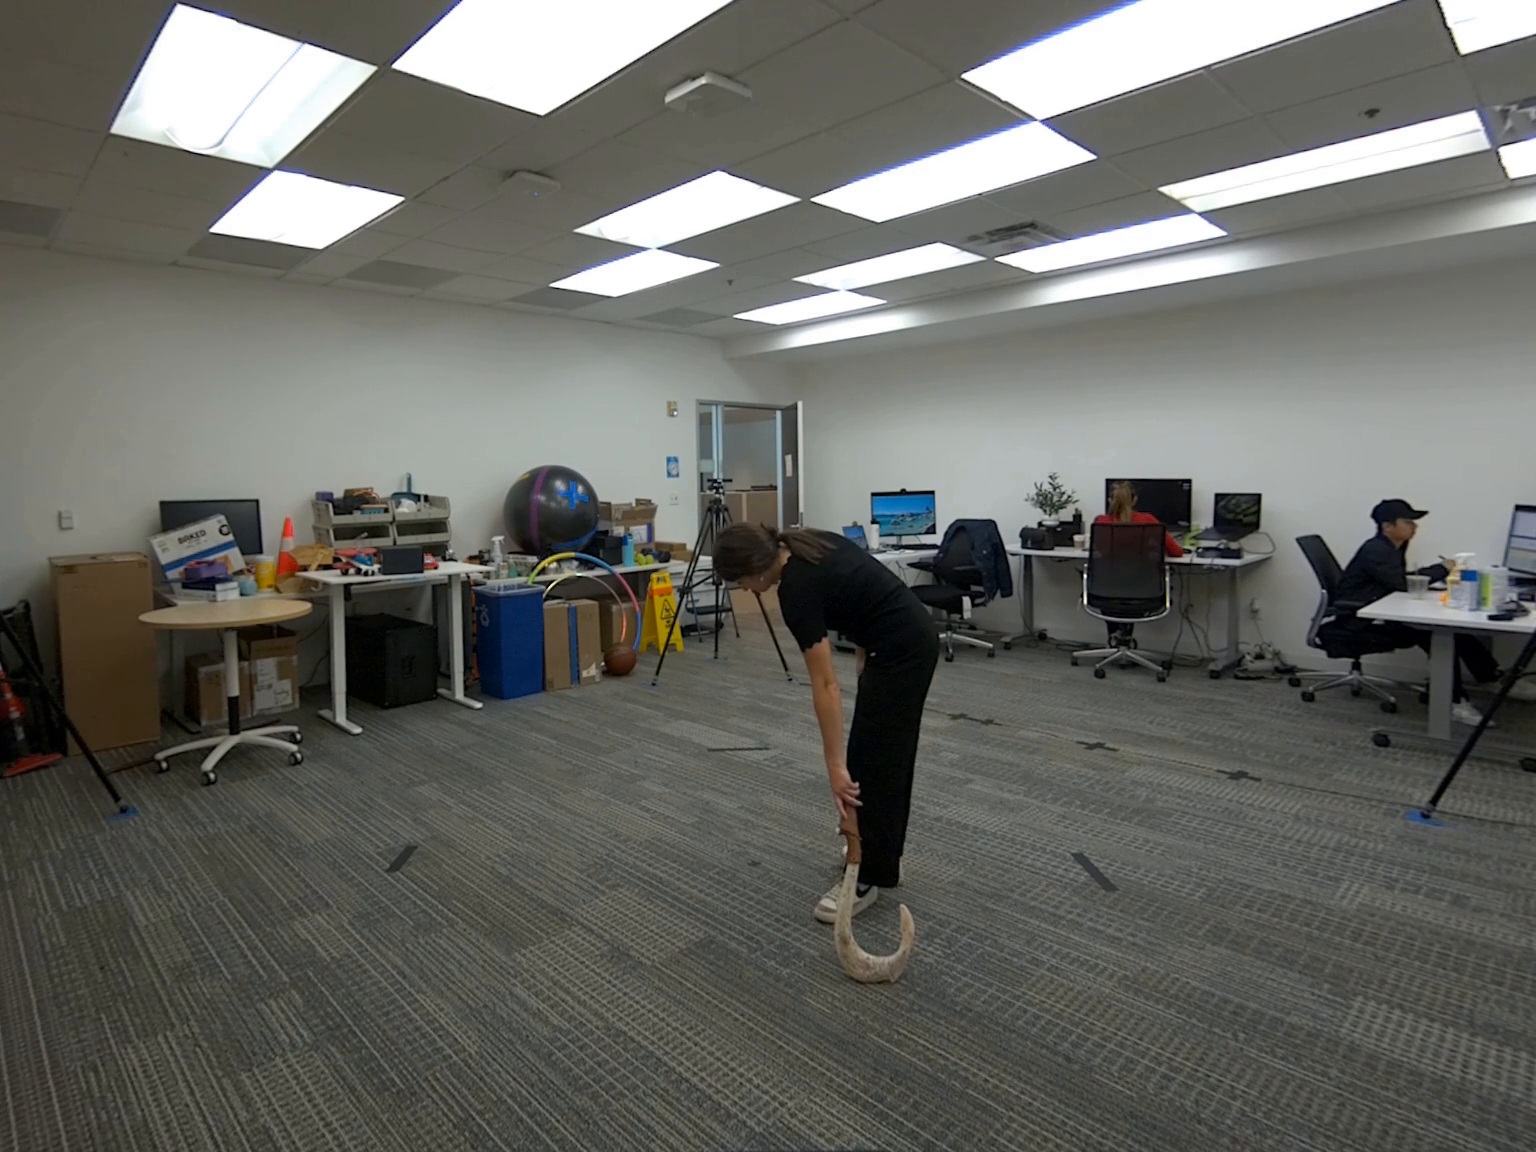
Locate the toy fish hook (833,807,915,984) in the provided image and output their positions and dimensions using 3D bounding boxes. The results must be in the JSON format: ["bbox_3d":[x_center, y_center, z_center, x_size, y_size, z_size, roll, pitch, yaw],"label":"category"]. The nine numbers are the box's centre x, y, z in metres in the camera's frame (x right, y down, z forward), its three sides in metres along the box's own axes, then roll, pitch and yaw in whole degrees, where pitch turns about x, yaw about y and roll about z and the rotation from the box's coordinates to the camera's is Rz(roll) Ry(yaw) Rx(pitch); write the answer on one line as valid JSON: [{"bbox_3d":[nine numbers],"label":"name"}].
[{"bbox_3d":[0.303,0.888,2.465,0.224,0.516,0.047,1,-22,-3],"label":"toy fish hook"}]
